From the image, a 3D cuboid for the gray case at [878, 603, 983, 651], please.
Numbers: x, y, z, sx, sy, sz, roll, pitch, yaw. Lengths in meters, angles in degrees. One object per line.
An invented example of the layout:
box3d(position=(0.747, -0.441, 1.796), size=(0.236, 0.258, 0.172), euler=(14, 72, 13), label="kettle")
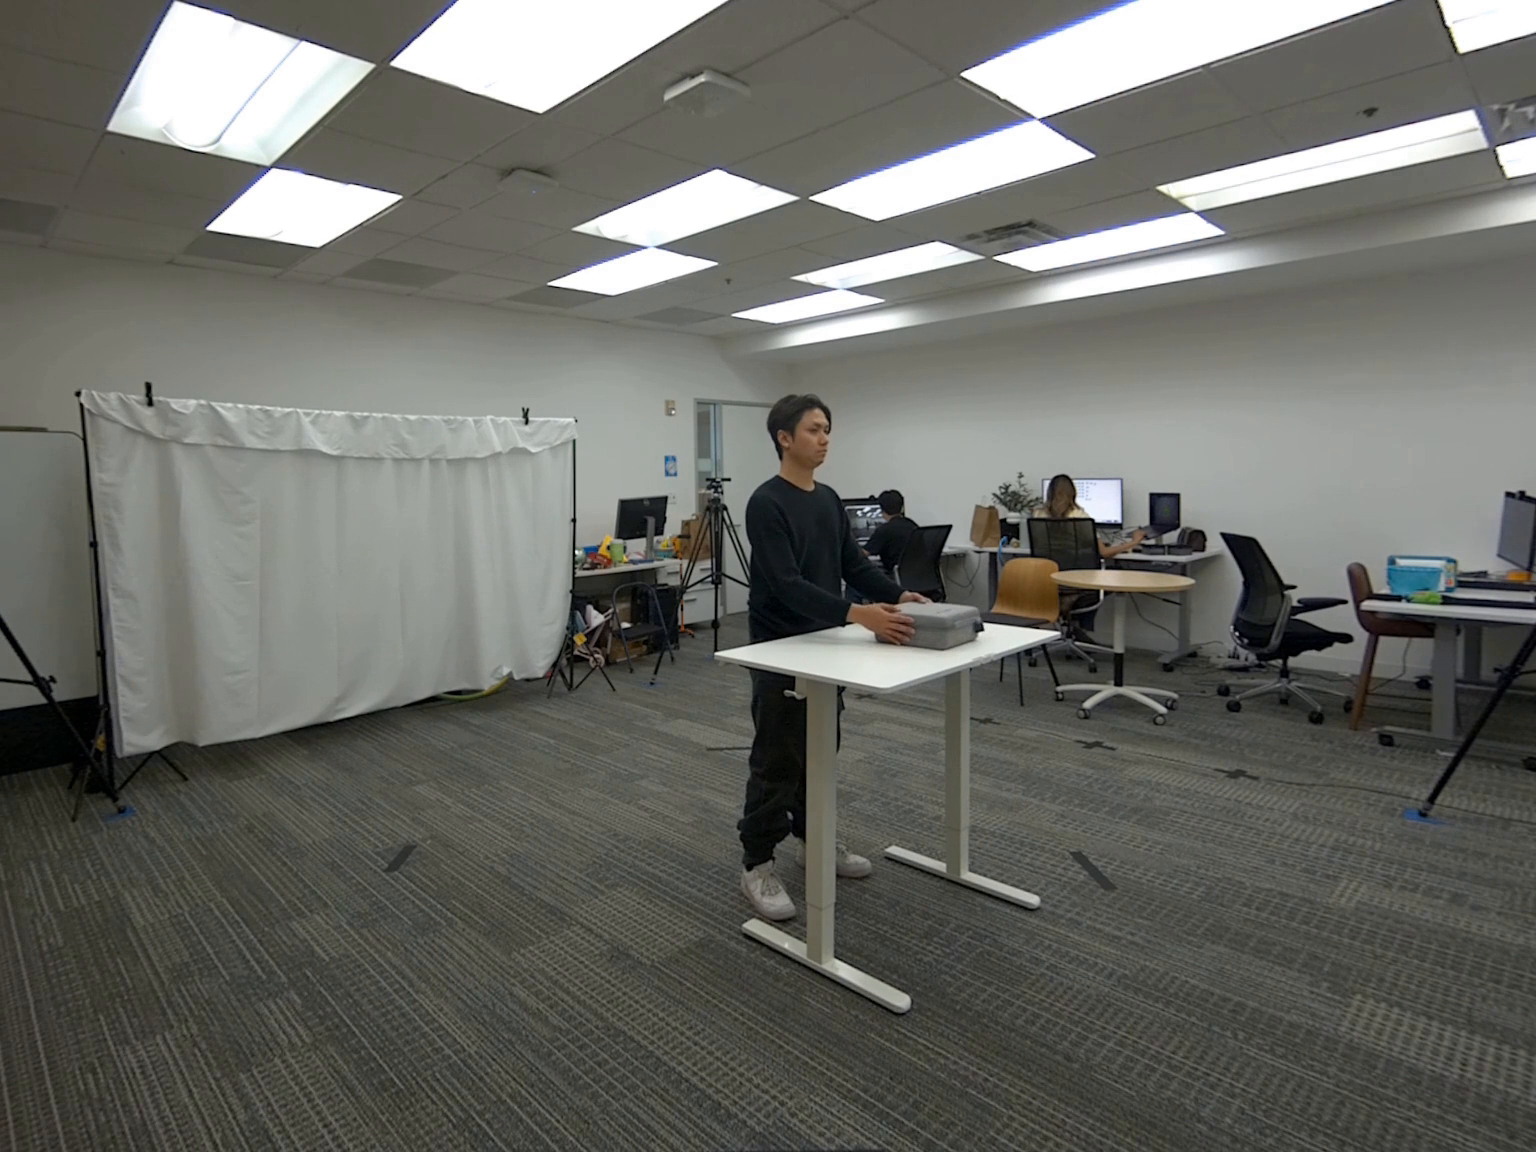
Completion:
box3d(position=(0.493, 0.149, 2.658), size=(0.269, 0.104, 0.250), euler=(5, 9, 41), label="gray case")
